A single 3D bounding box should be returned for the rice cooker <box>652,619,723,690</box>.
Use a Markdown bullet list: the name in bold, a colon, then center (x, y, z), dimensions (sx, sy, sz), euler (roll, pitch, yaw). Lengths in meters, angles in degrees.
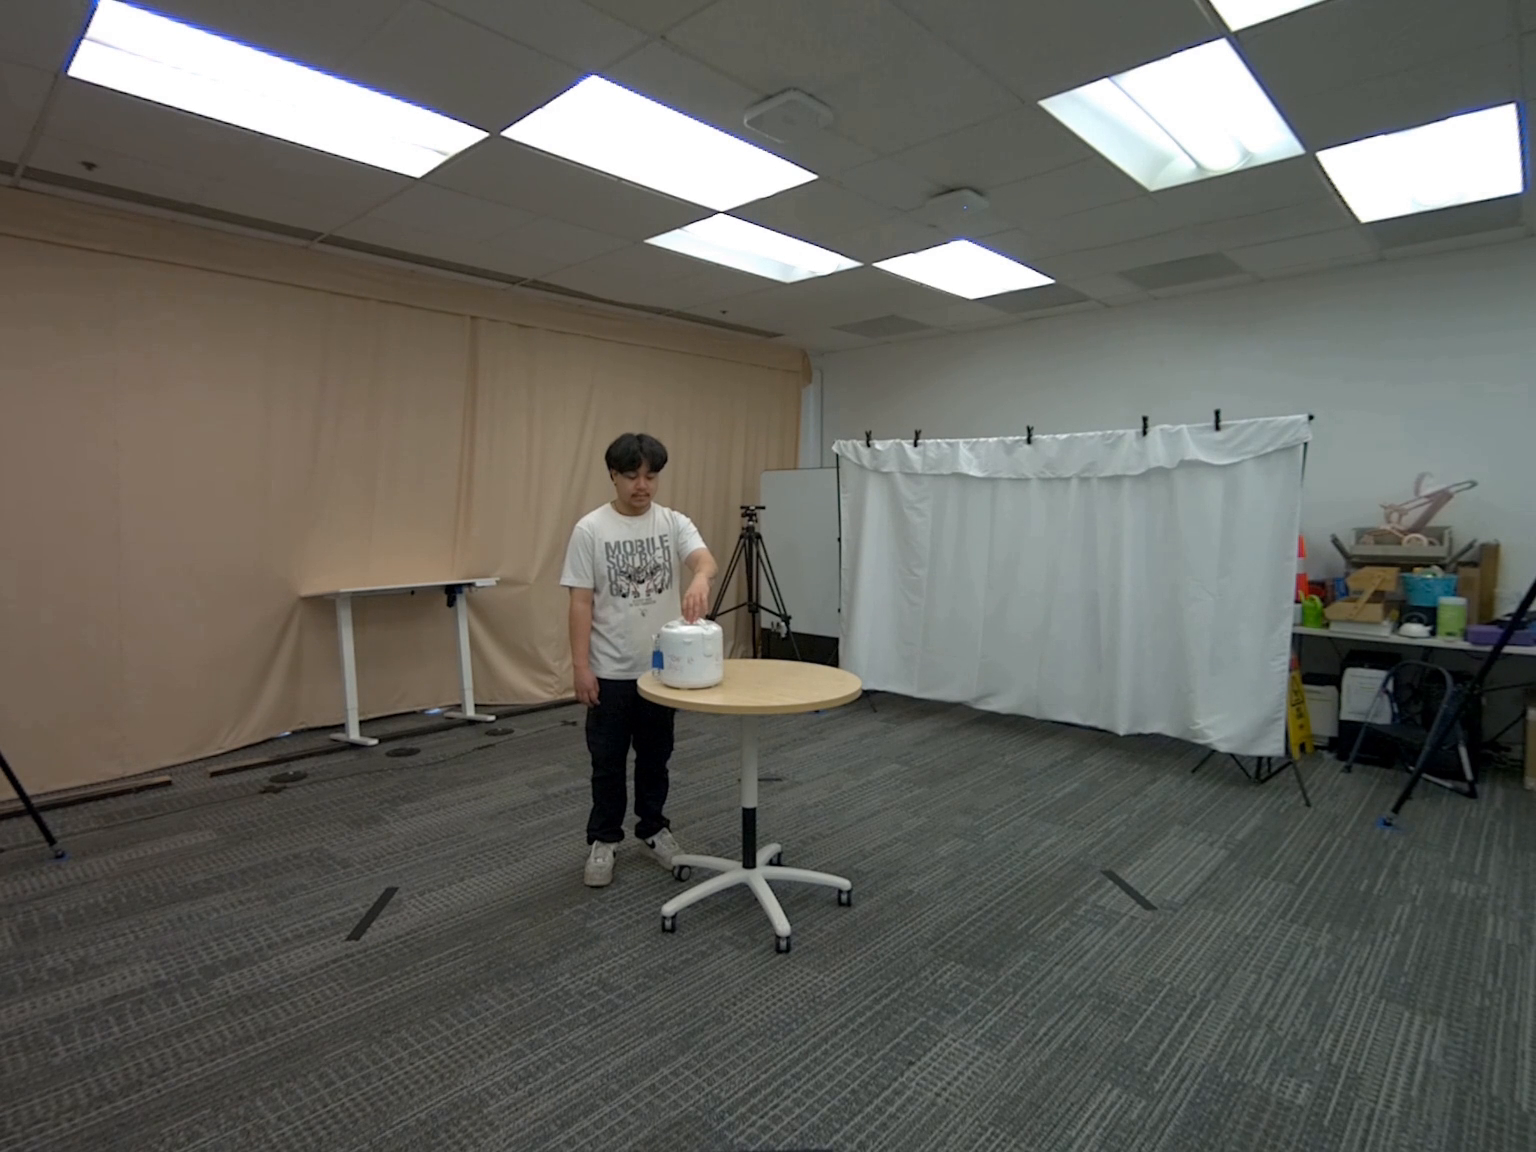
- **rice cooker**: center (-0.252, 0.246, 2.805), dimensions (0.211, 0.232, 0.228), euler (-4, 6, -37)
